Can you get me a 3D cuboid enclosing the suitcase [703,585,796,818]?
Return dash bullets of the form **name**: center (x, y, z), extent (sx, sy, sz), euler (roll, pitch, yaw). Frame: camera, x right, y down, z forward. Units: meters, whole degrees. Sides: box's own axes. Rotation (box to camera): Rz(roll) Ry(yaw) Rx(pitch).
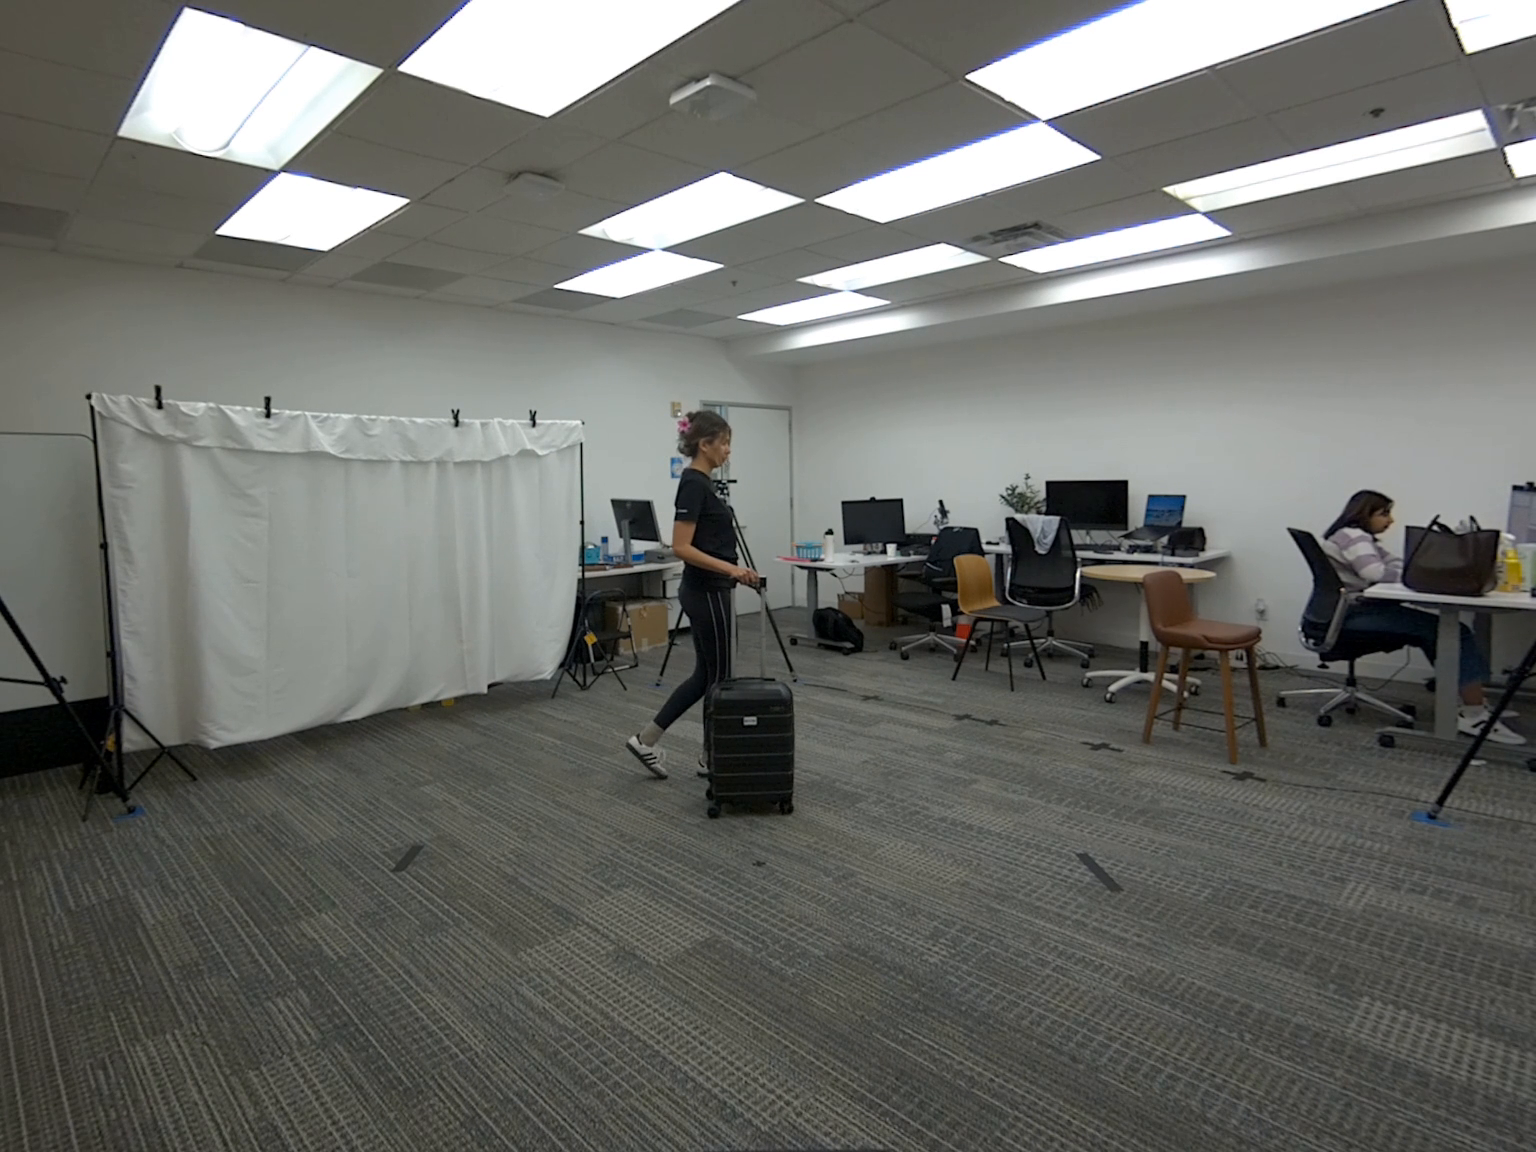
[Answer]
- **suitcase**: center (-0.071, 0.518, 3.621), extent (0.382, 0.974, 0.259), euler (-1, 5, -5)
